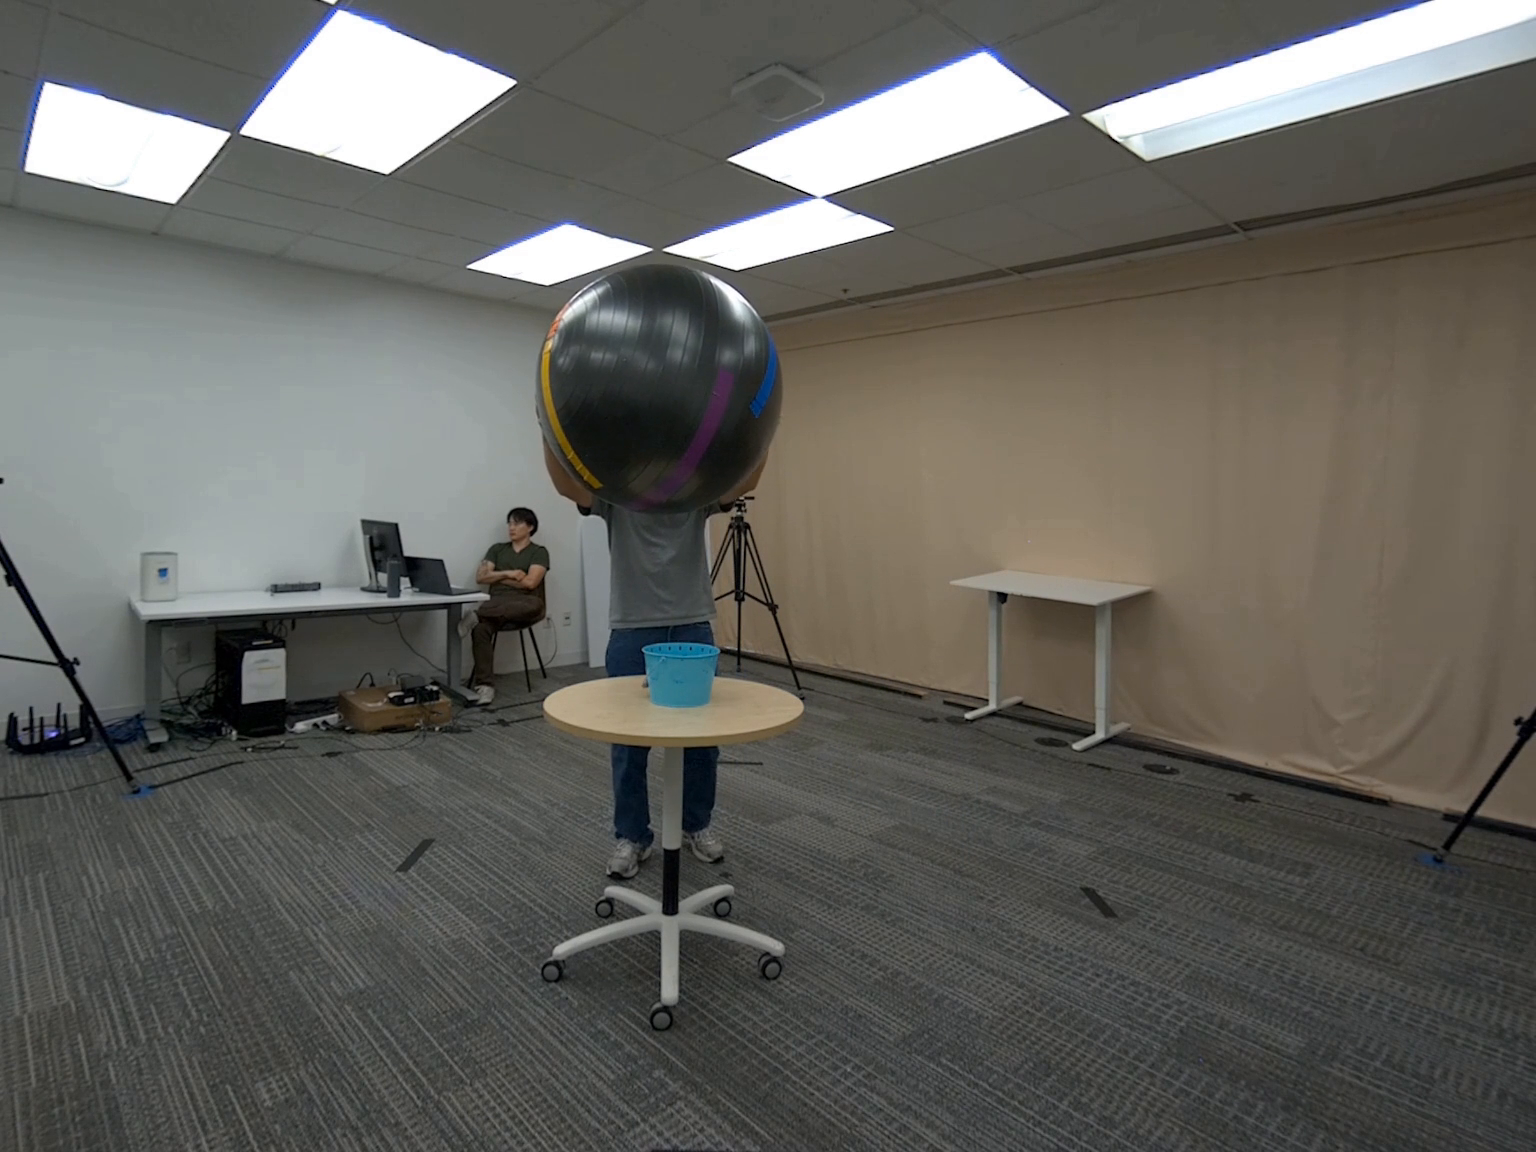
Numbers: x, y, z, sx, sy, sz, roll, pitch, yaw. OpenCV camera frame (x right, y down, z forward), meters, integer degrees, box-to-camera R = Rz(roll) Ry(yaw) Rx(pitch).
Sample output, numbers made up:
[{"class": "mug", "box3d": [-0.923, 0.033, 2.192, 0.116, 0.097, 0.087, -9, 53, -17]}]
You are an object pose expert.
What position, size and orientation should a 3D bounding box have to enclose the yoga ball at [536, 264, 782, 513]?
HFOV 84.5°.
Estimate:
[{"class": "yoga ball", "box3d": [-0.335, -0.559, 2.613, 0.757, 0.756, 0.761, 1, 4, -1]}]
